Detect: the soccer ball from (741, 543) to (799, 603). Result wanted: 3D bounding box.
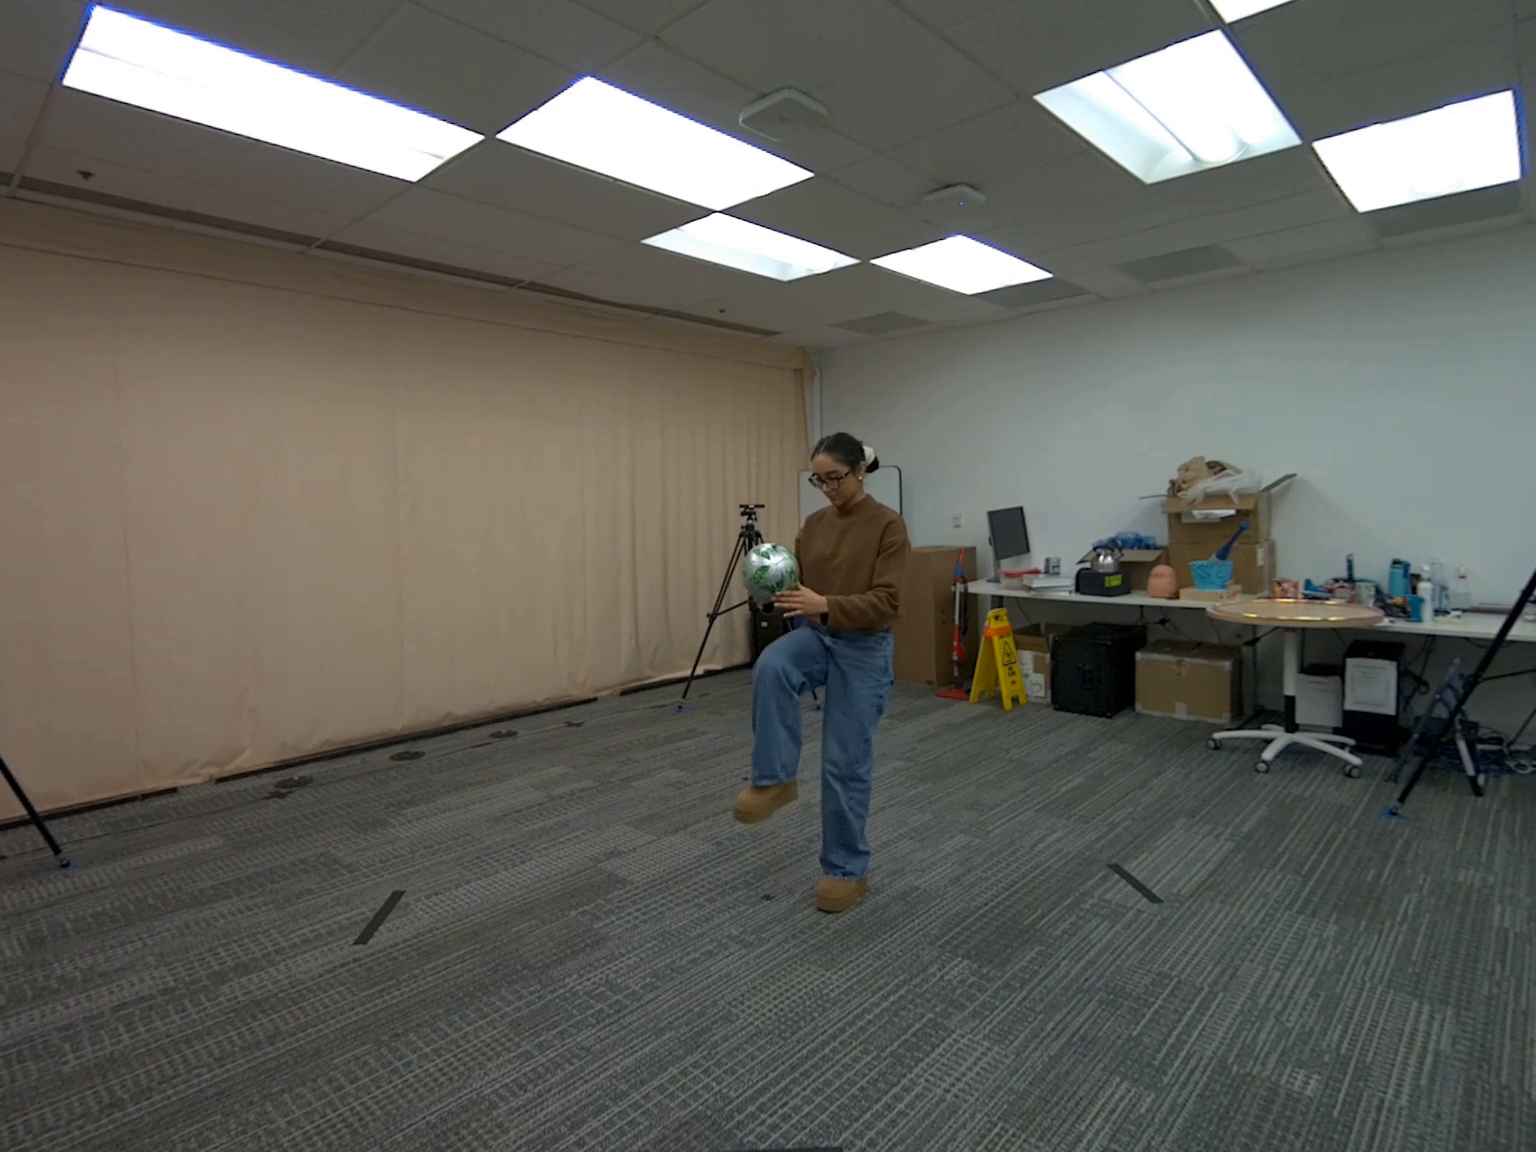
[{"bbox_3d":[0.012,-0.009,2.696,0.187,0.187,0.188,-1,4,-2],"label":"soccer ball"}]
